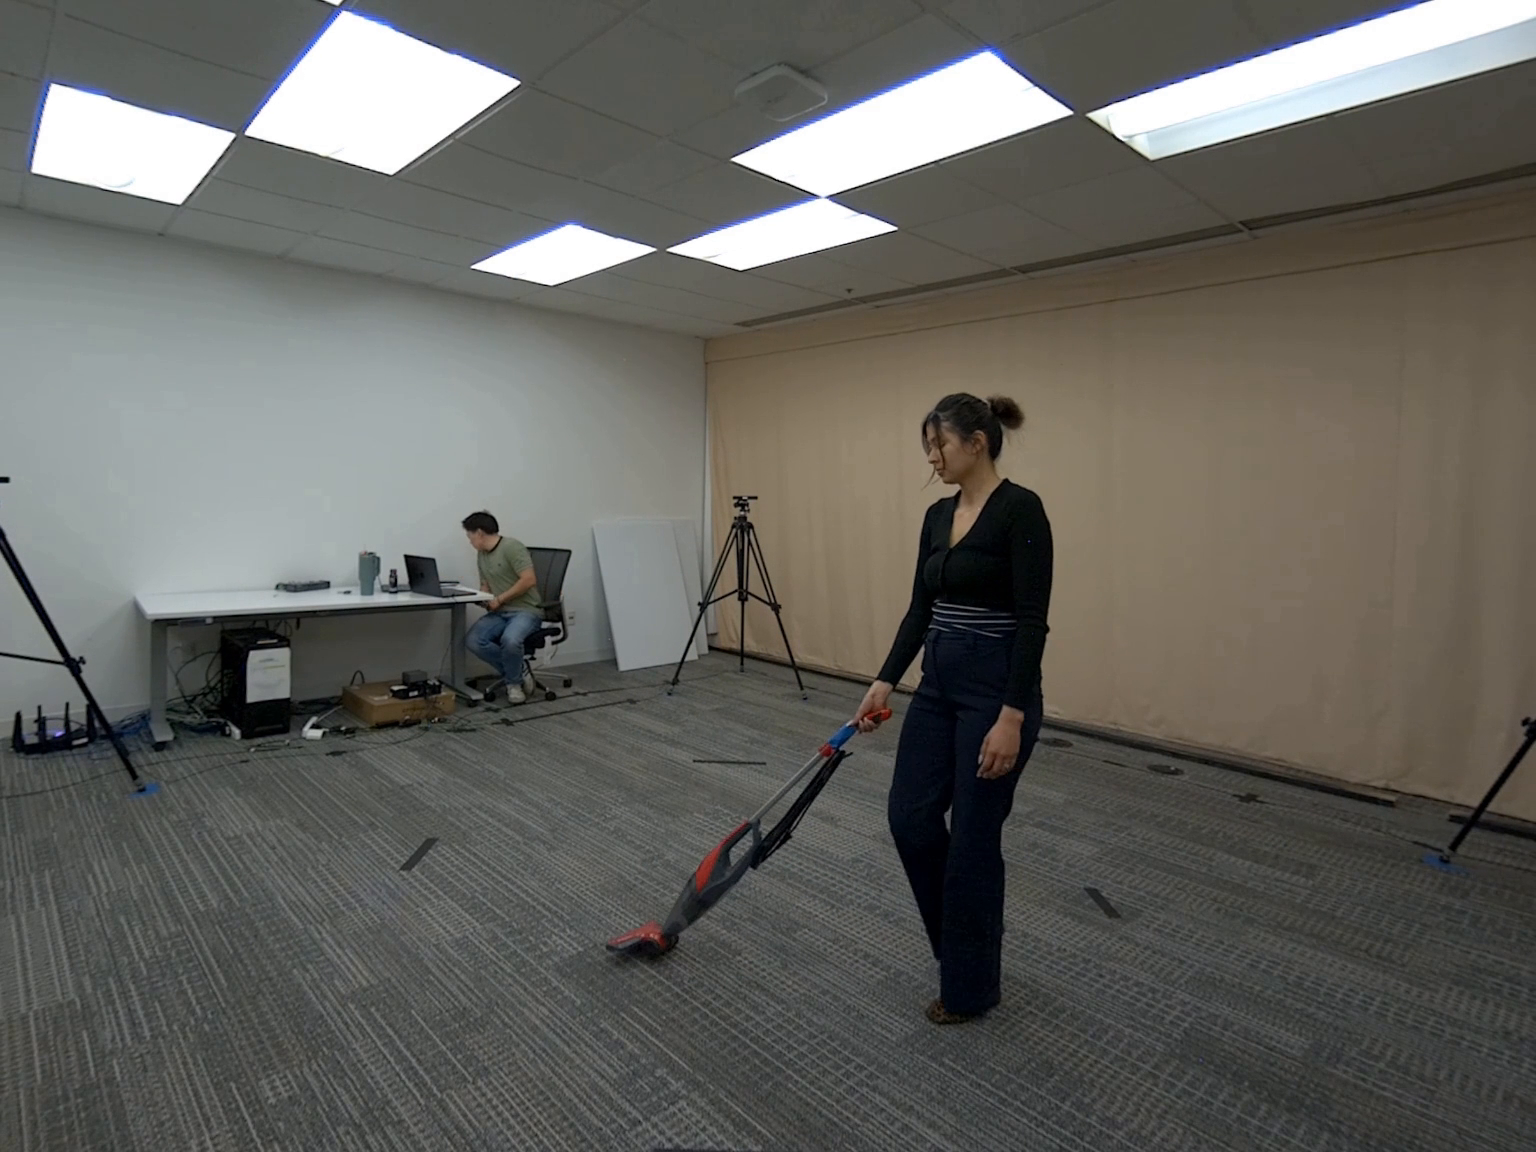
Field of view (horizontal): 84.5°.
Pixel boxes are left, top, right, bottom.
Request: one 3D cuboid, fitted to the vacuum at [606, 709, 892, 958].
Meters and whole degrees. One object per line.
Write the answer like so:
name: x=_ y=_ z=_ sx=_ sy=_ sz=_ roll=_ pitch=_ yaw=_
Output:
vacuum: x=-0.044 y=0.759 z=2.454 sx=0.147 sy=1.049 sz=0.248 roll=46 pitch=15 yaw=18
